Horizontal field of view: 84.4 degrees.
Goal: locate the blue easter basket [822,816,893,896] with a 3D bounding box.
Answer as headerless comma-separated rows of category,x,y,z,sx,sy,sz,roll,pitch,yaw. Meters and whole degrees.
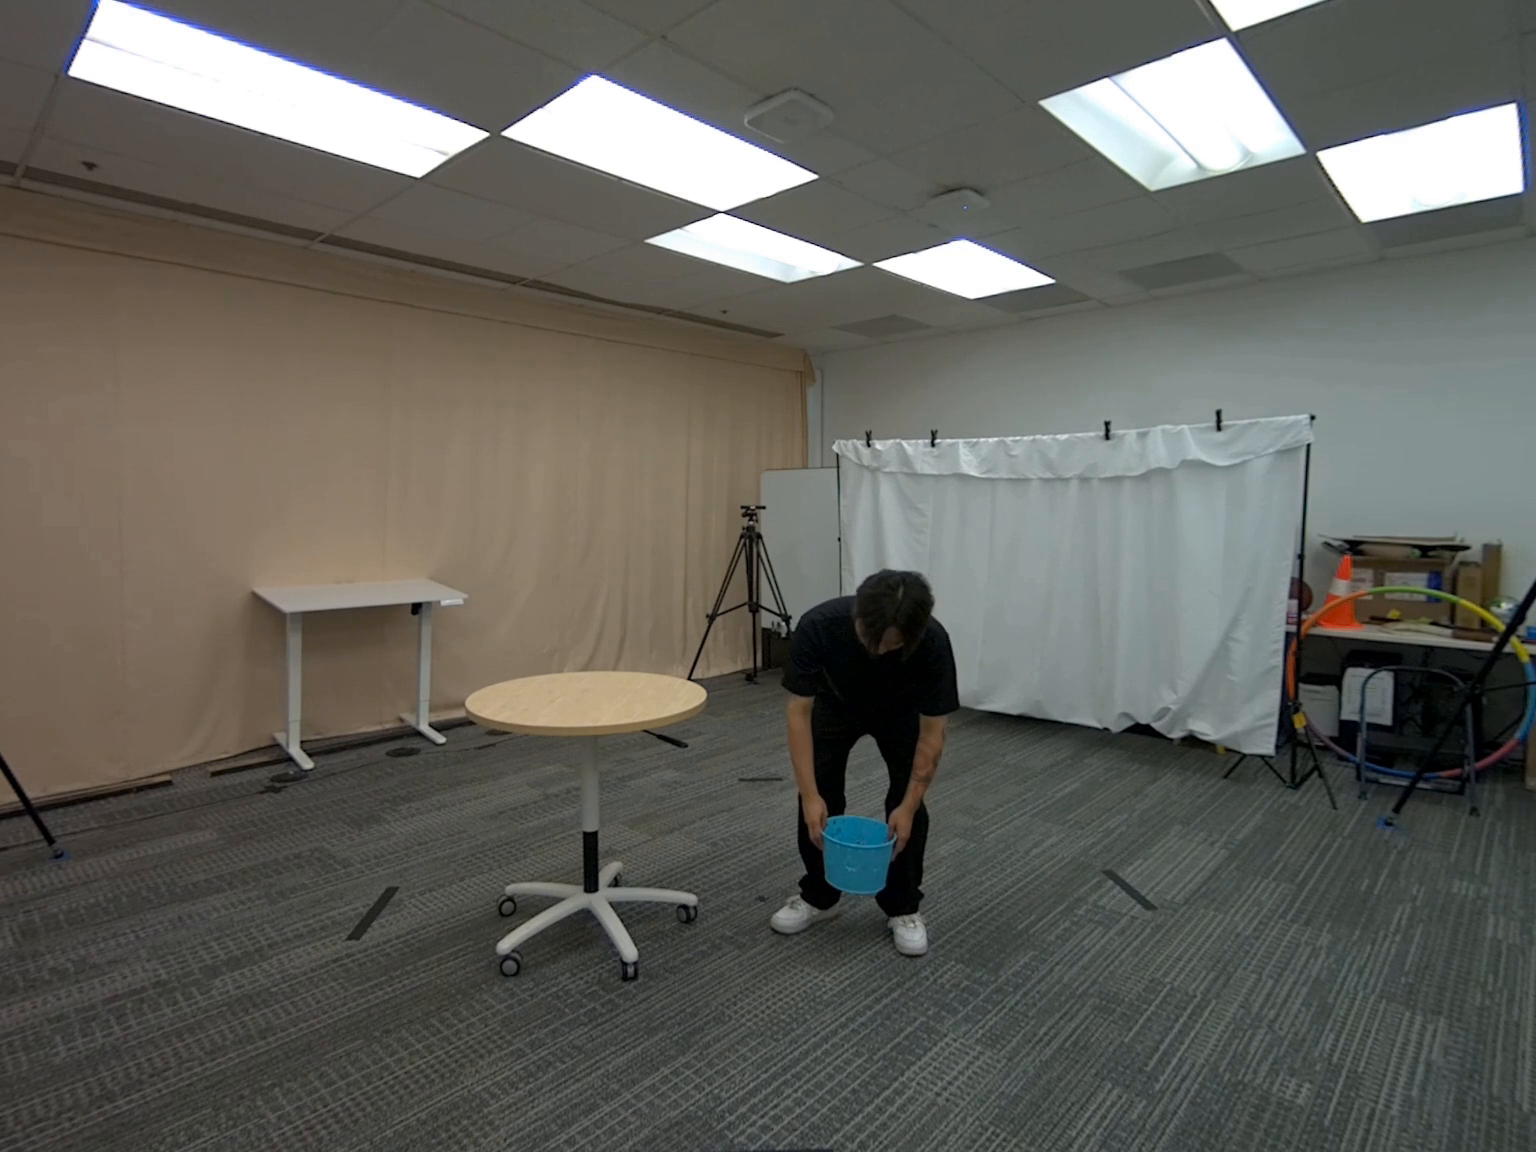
blue easter basket,0.269,0.837,2.538,0.243,0.155,0.244,0,4,-2
